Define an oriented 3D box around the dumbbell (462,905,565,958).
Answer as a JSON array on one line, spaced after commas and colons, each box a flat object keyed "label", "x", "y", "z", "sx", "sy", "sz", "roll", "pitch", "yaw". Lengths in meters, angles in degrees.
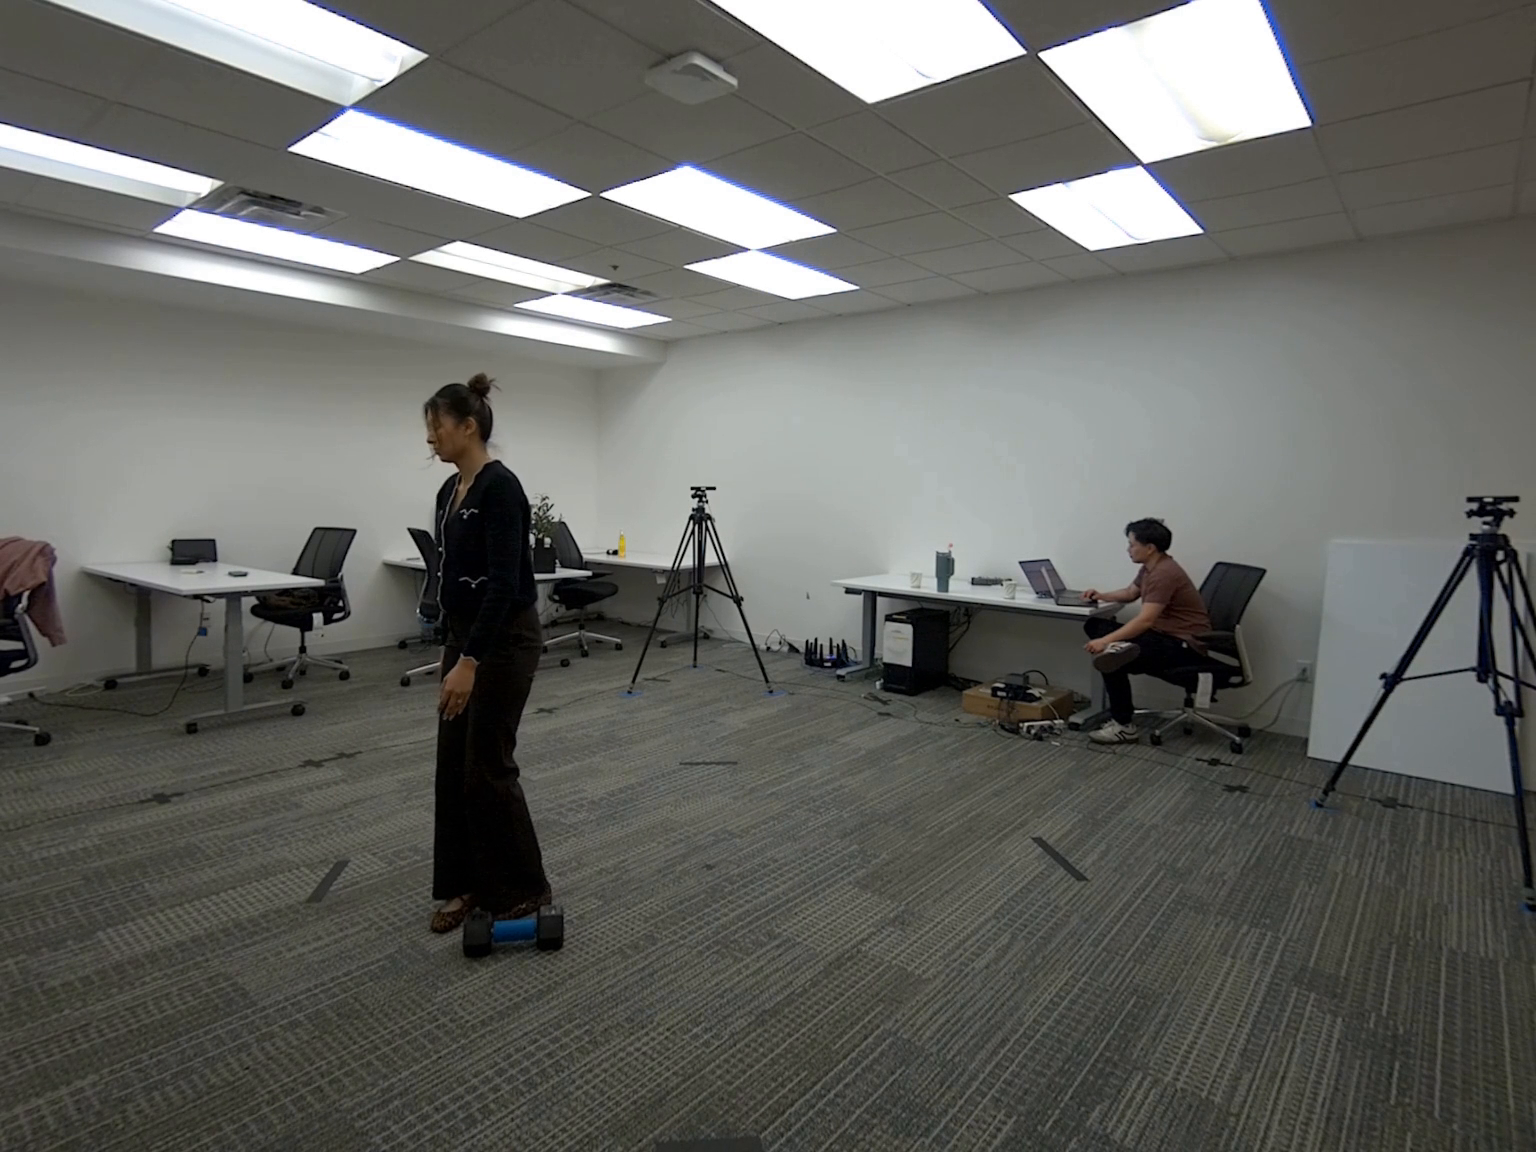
[{"label": "dumbbell", "x": -0.770, "y": 1.063, "z": 2.545, "sx": 0.290, "sy": 0.120, "sz": 0.112, "roll": 0, "pitch": 32, "yaw": -11}]
